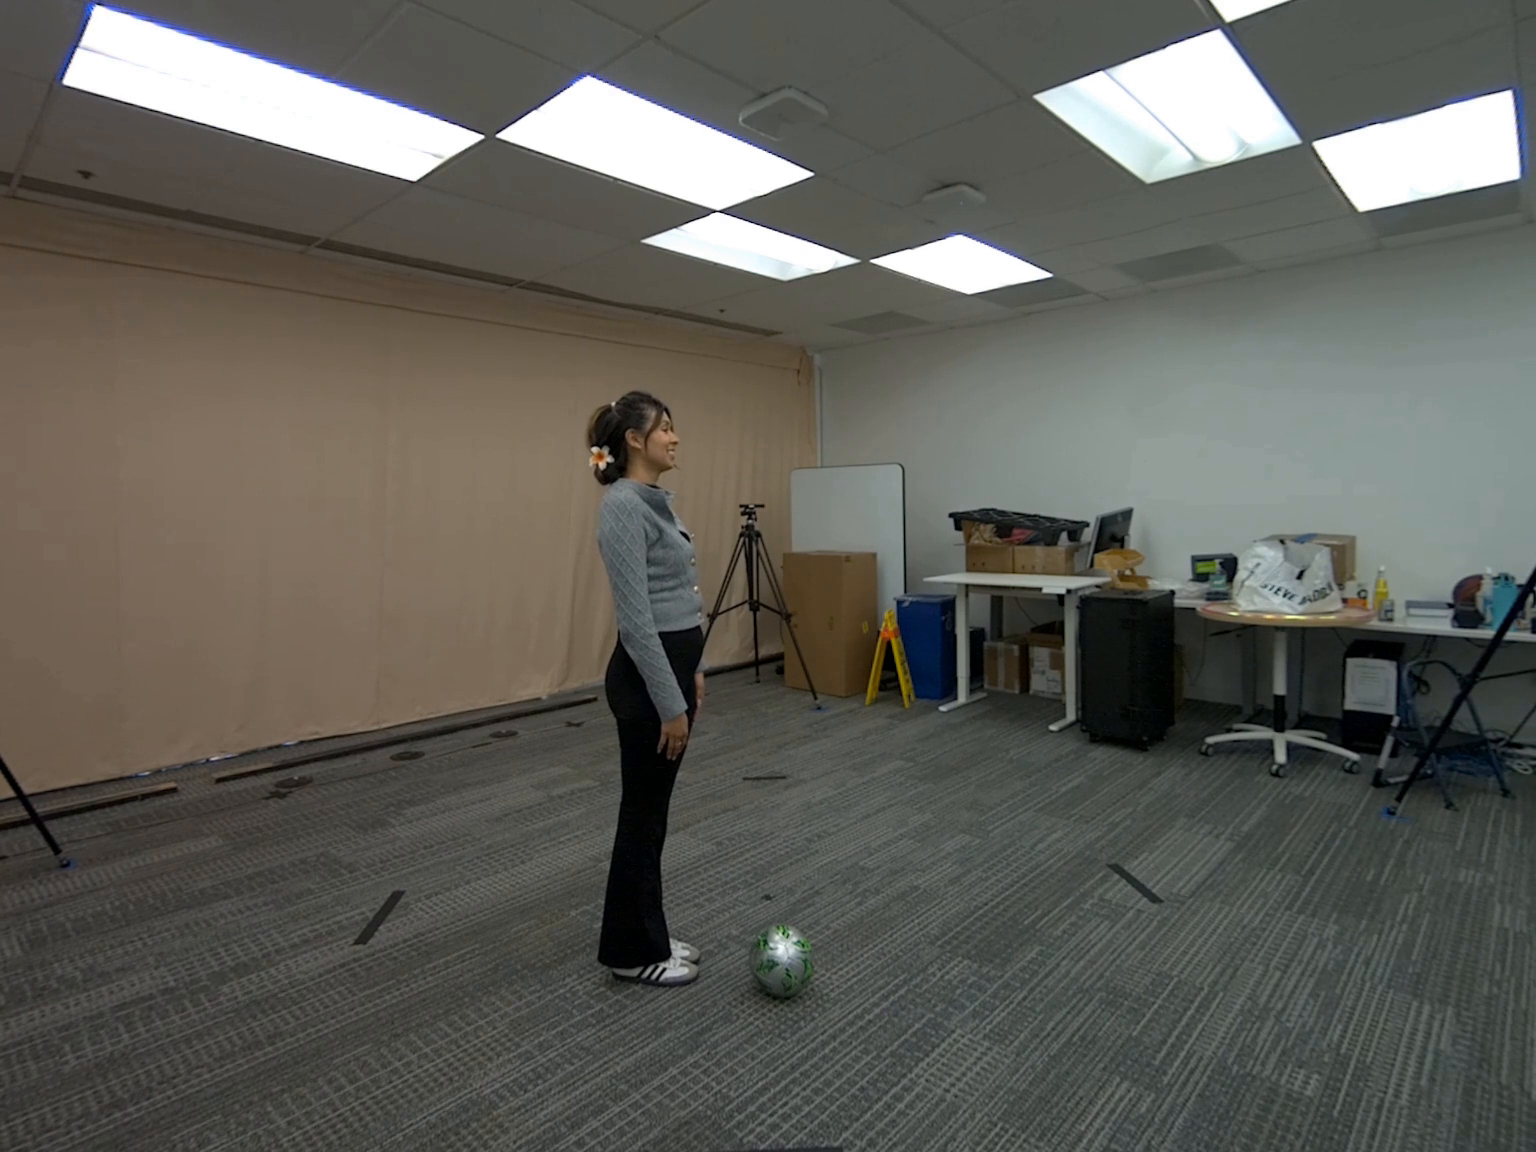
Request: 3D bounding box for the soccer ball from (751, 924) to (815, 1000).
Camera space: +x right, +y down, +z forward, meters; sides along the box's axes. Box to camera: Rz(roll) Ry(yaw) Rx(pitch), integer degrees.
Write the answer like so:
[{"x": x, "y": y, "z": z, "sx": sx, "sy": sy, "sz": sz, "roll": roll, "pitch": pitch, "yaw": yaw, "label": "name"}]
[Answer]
[{"x": 0.043, "y": 1.098, "z": 2.394, "sx": 0.187, "sy": 0.187, "sz": 0.188, "roll": -1, "pitch": 4, "yaw": -2, "label": "soccer ball"}]
